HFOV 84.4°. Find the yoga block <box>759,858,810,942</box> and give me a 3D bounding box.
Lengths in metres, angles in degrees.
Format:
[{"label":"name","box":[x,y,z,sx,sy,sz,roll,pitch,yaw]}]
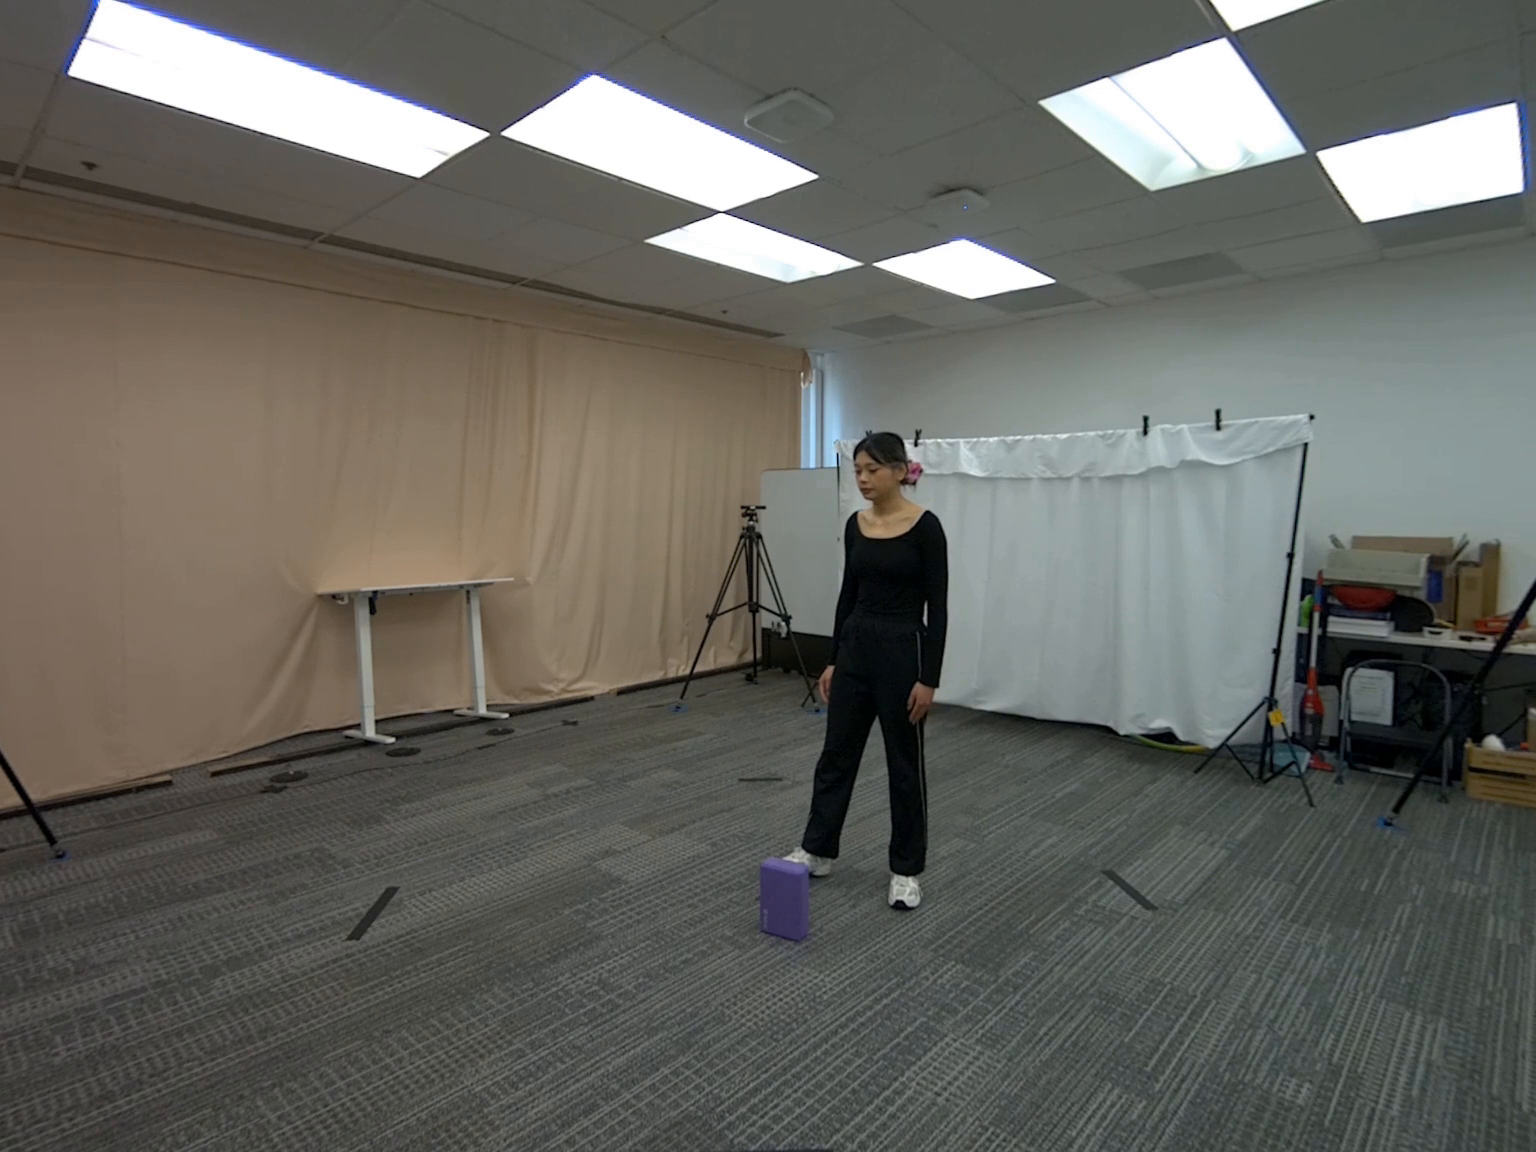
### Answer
[{"label":"yoga block","box":[0.056,1.049,2.735,0.153,0.229,0.074,2,5,28]}]
